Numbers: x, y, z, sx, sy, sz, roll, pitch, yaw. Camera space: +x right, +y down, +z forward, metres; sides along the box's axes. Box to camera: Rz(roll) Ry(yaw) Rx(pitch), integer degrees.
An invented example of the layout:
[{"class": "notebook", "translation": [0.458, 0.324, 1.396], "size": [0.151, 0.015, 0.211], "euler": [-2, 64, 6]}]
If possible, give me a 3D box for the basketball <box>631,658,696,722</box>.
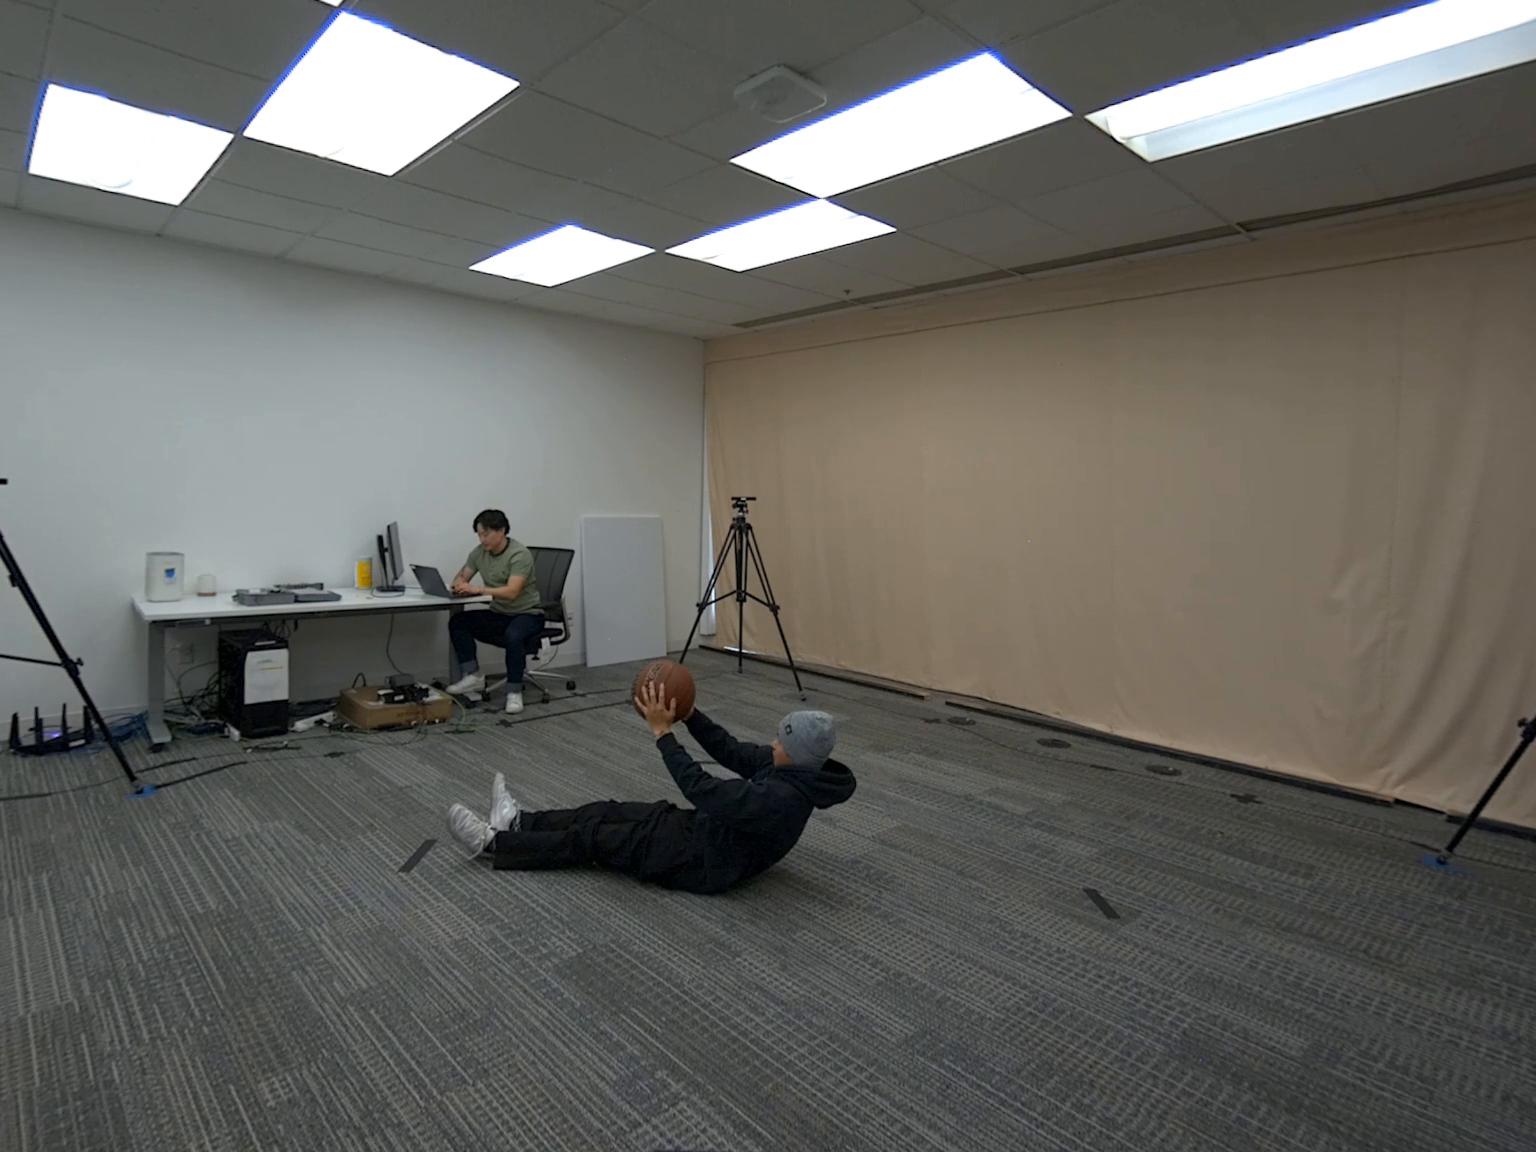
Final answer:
[{"class": "basketball", "translation": [-0.389, 0.429, 3.111], "size": [0.236, 0.235, 0.237], "euler": [1, 4, -1]}]
